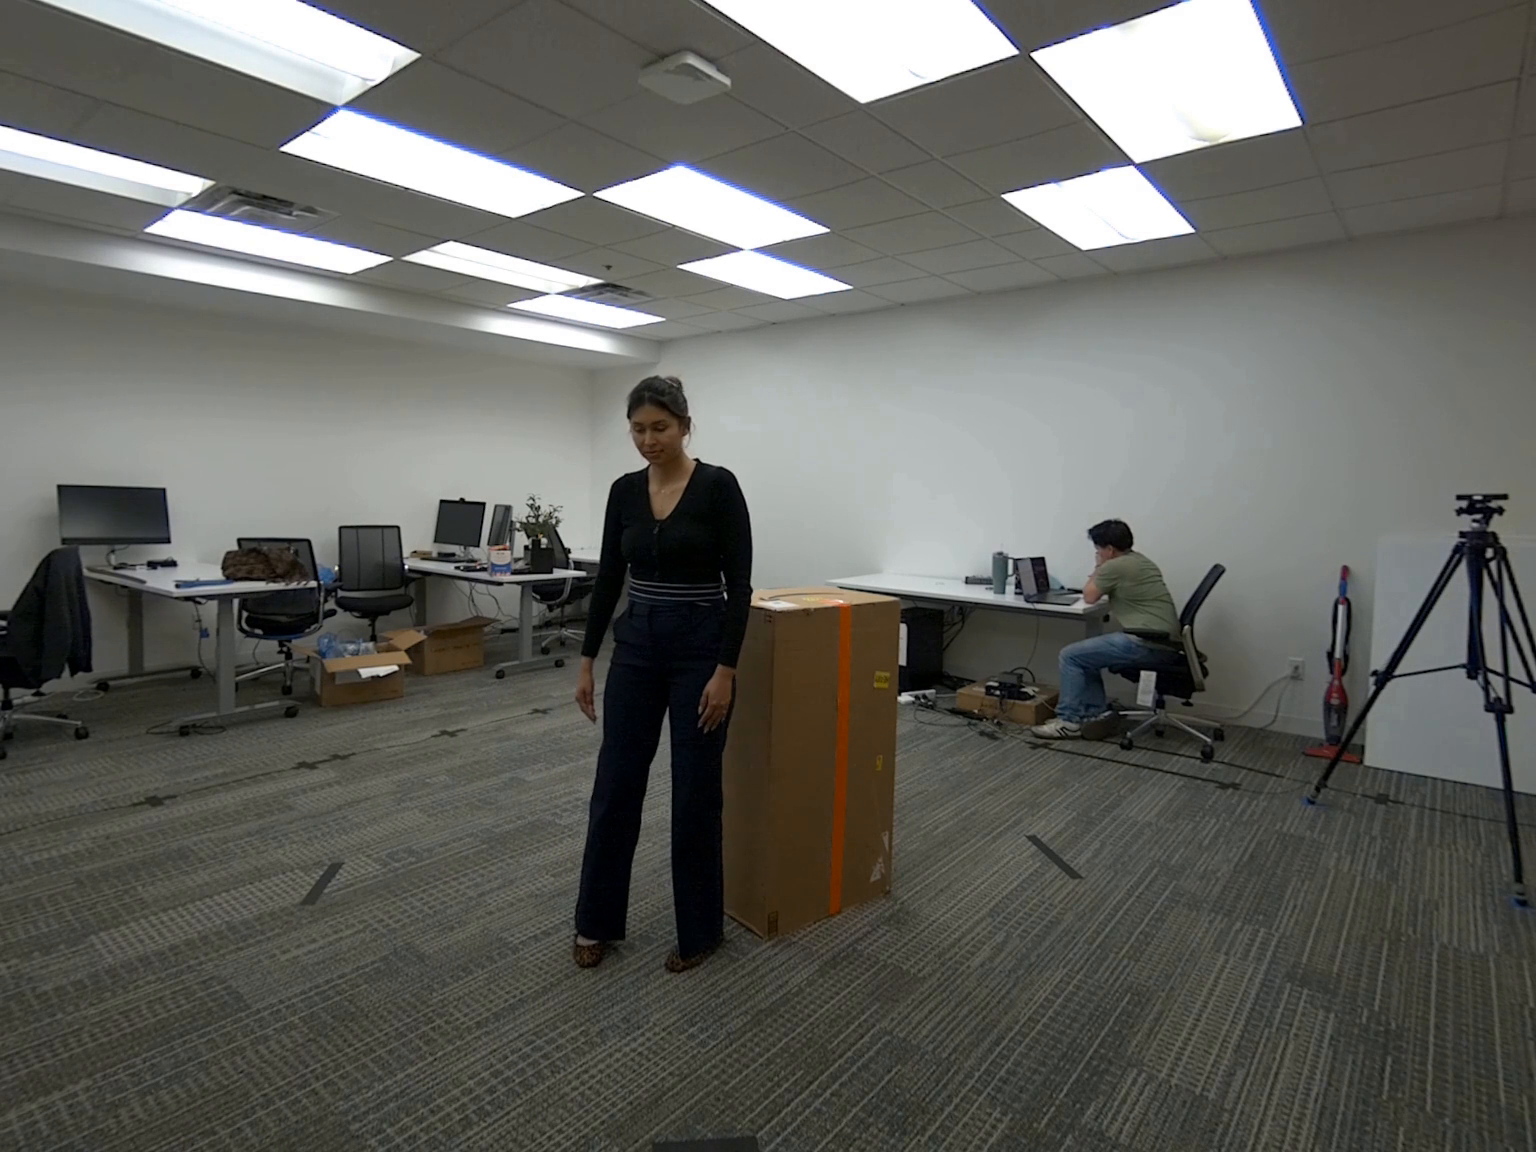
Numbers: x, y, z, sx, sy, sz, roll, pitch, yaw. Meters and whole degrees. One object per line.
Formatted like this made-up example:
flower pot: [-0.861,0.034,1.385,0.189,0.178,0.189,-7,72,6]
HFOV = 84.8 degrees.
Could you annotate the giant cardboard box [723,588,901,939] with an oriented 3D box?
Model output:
giant cardboard box: [0.088,0.579,2.924,0.560,1.023,0.440,-1,4,-39]
